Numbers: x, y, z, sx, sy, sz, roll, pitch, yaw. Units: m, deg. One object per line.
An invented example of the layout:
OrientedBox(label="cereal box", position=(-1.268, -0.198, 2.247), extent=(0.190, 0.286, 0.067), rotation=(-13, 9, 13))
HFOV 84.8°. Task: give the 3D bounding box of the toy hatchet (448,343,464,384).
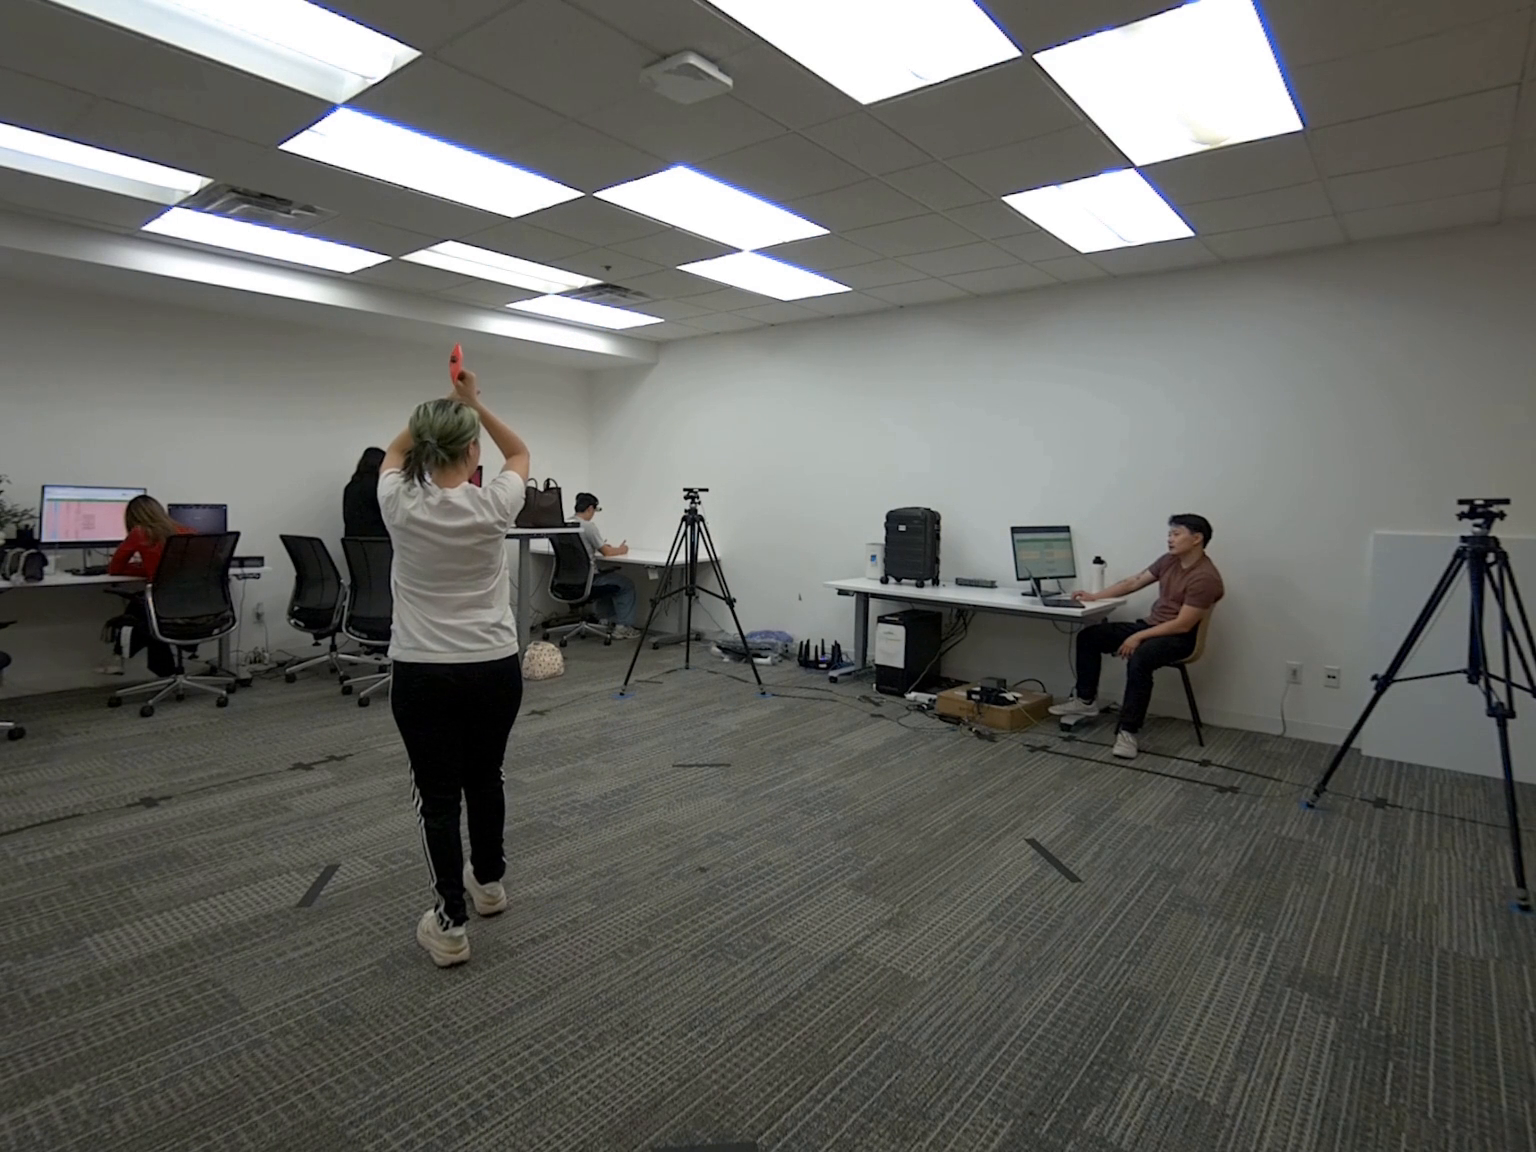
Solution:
OrientedBox(label="toy hatchet", position=(-0.968, -0.649, 2.640), extent=(0.029, 0.131, 0.273), rotation=(1, 3, -11))
